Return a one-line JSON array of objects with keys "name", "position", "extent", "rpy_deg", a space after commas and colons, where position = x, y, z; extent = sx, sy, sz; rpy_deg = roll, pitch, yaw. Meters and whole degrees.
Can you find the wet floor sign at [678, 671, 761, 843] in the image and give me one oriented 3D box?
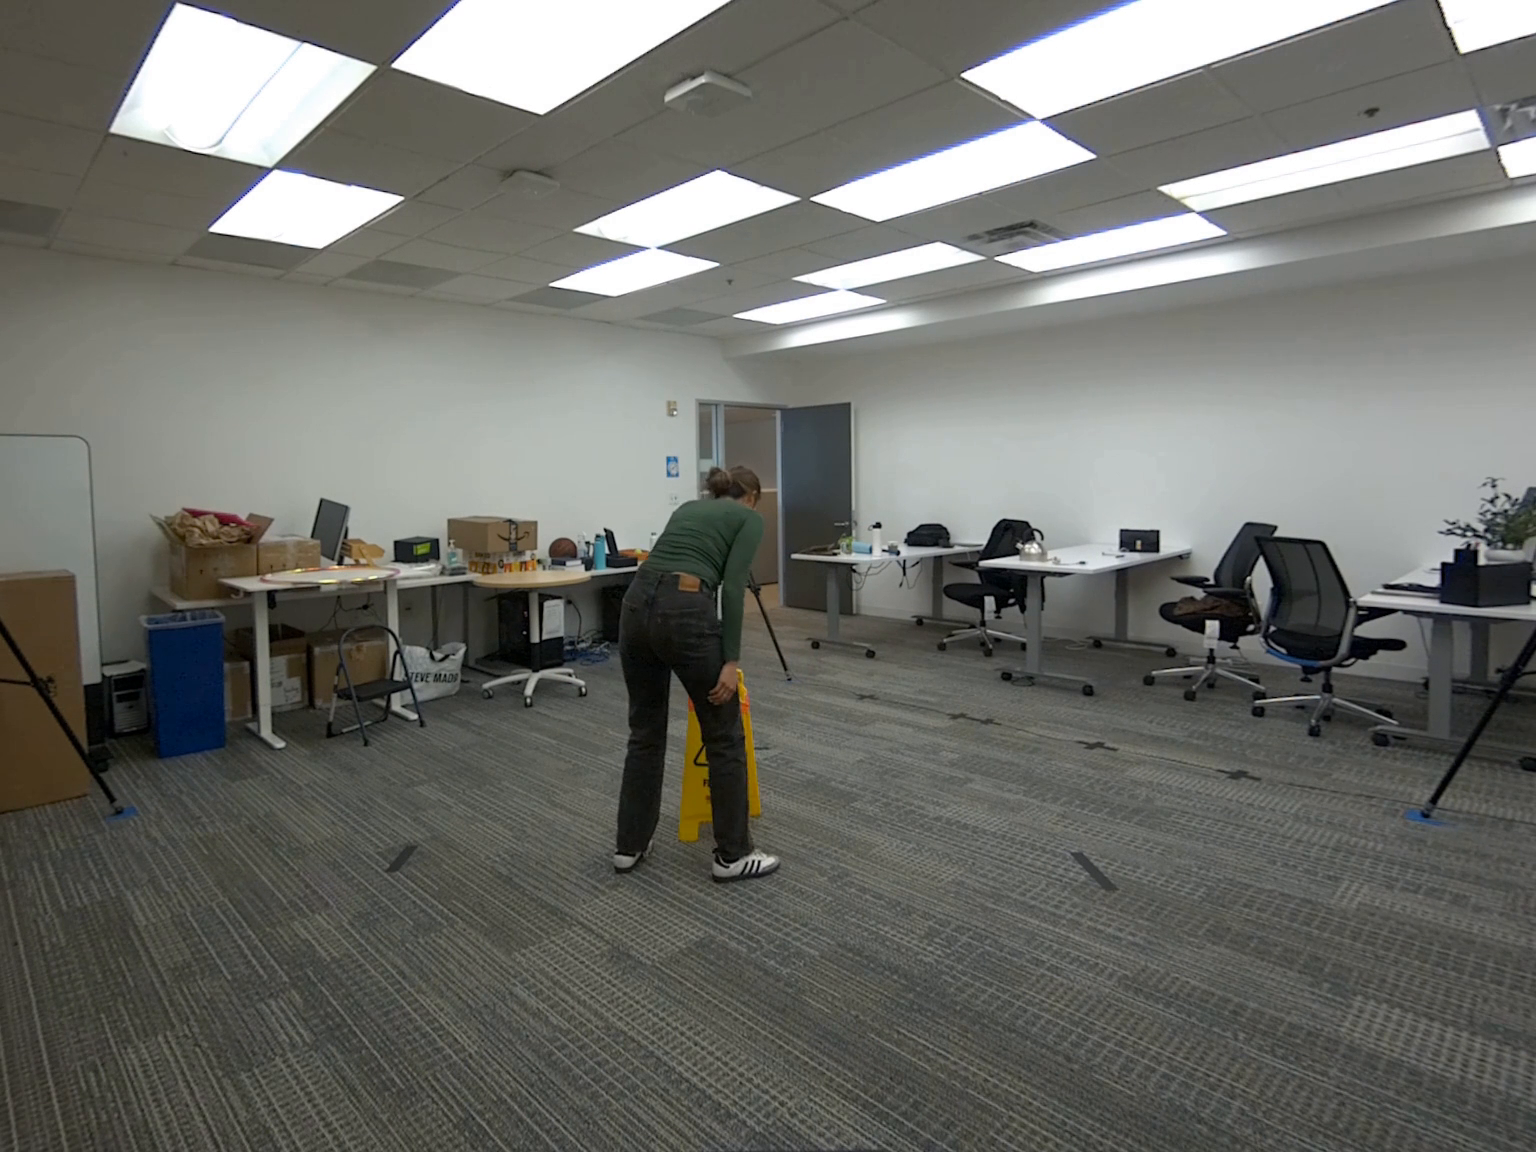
[{"name": "wet floor sign", "position": [-0.196, 0.689, 3.415], "extent": [0.285, 0.644, 0.288], "rpy_deg": [0, 4, 9]}]
